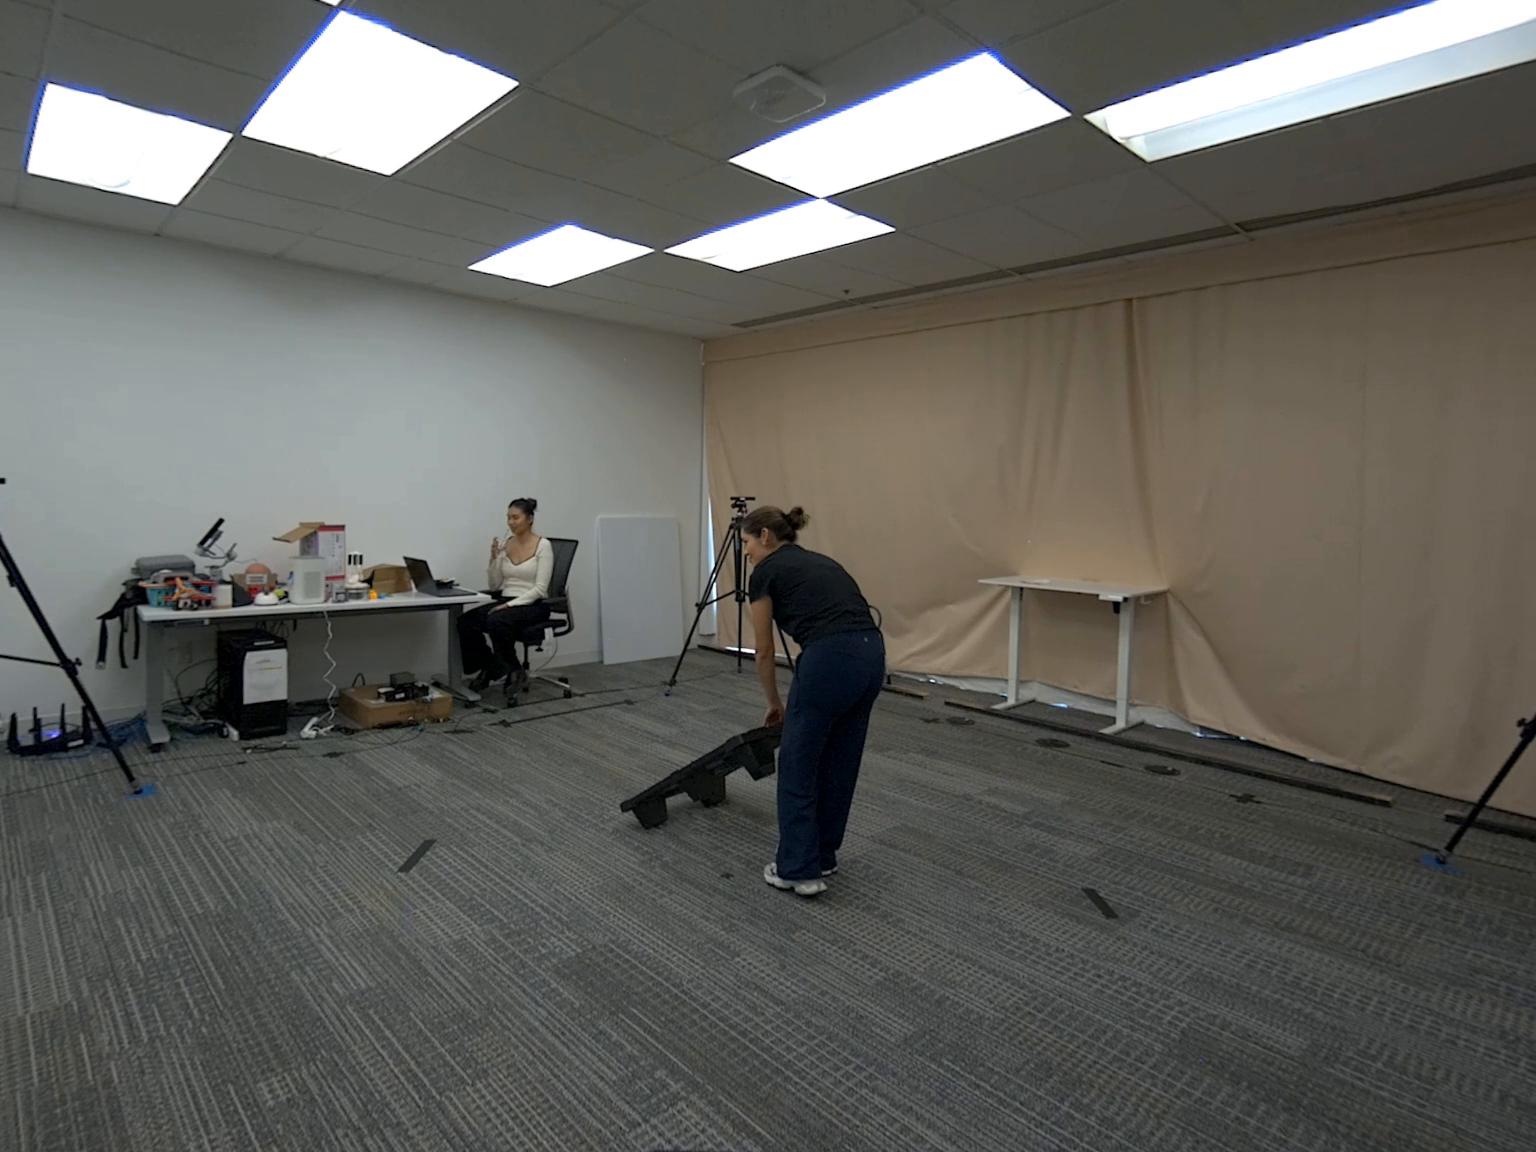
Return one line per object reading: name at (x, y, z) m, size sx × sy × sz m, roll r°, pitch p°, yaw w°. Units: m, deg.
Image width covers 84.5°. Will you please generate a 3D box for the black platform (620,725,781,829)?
black platform at (-0.160, 0.814, 3.485) m, size 0.809 × 0.146 × 0.592 m, roll -37°, pitch -20°, yaw 35°
